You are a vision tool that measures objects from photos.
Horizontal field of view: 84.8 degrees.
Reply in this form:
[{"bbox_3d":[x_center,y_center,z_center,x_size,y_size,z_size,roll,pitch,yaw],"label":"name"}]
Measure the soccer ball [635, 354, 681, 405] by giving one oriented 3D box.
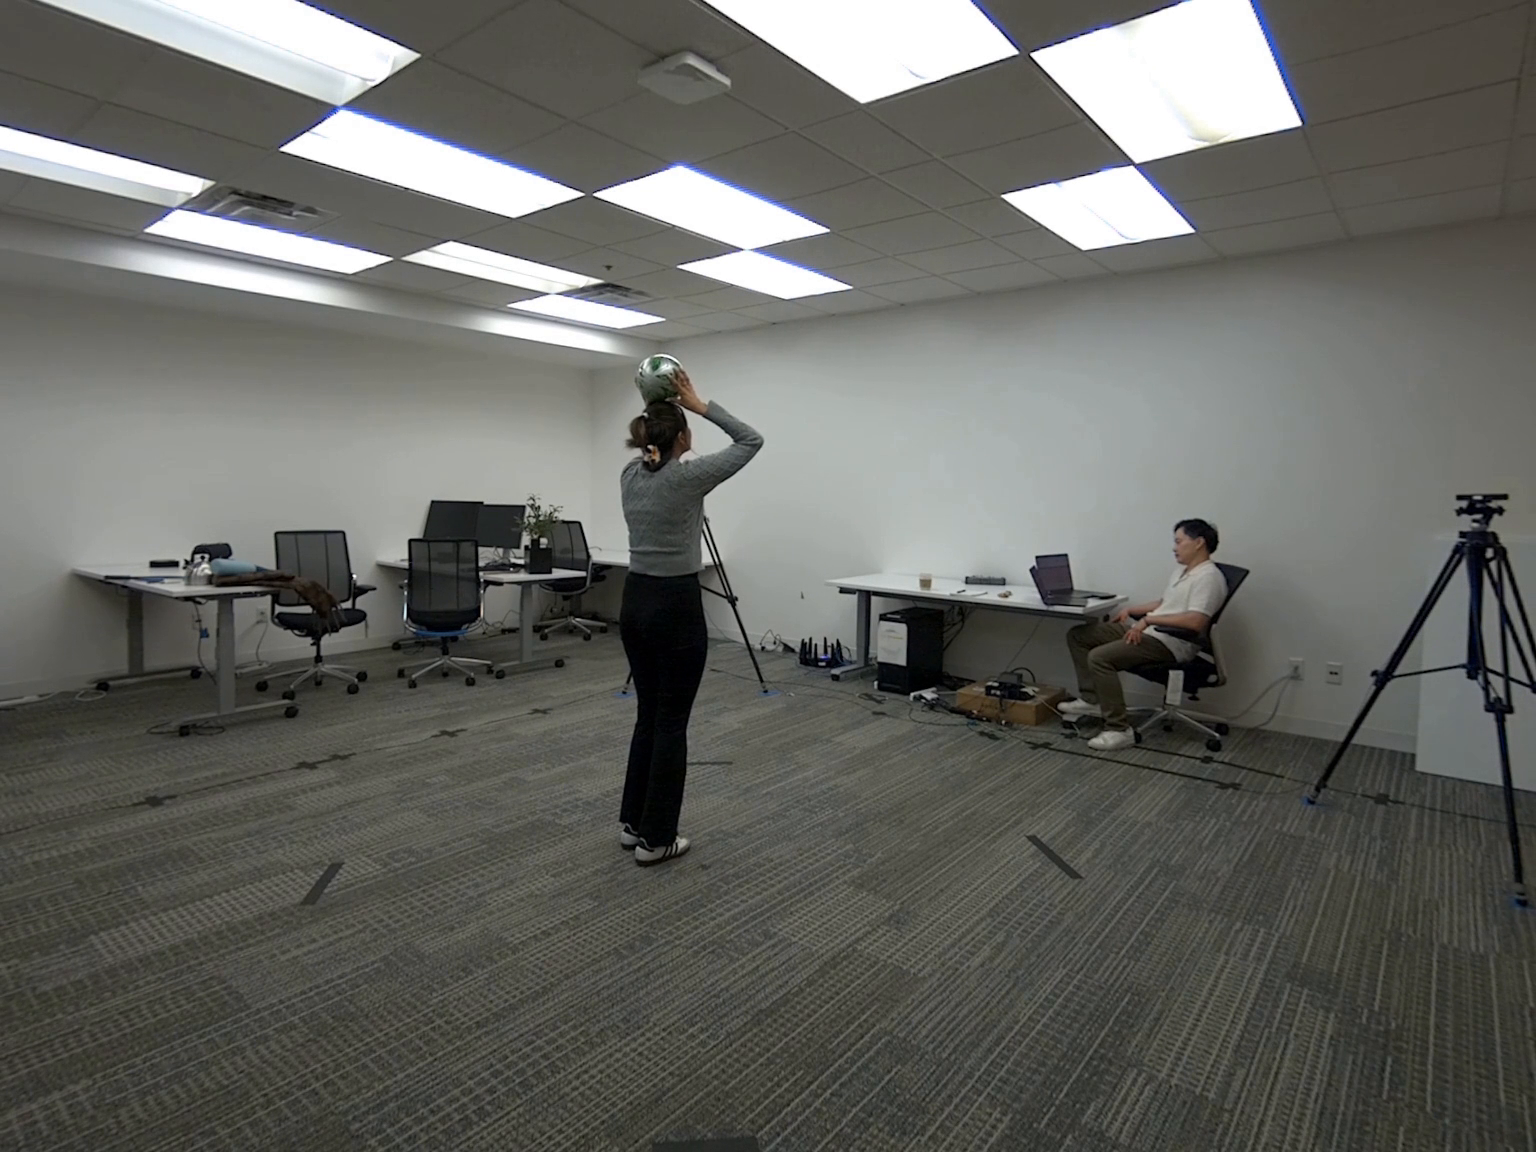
[{"bbox_3d":[-0.410,-0.749,3.233,0.187,0.187,0.188,1,4,-2],"label":"soccer ball"}]
